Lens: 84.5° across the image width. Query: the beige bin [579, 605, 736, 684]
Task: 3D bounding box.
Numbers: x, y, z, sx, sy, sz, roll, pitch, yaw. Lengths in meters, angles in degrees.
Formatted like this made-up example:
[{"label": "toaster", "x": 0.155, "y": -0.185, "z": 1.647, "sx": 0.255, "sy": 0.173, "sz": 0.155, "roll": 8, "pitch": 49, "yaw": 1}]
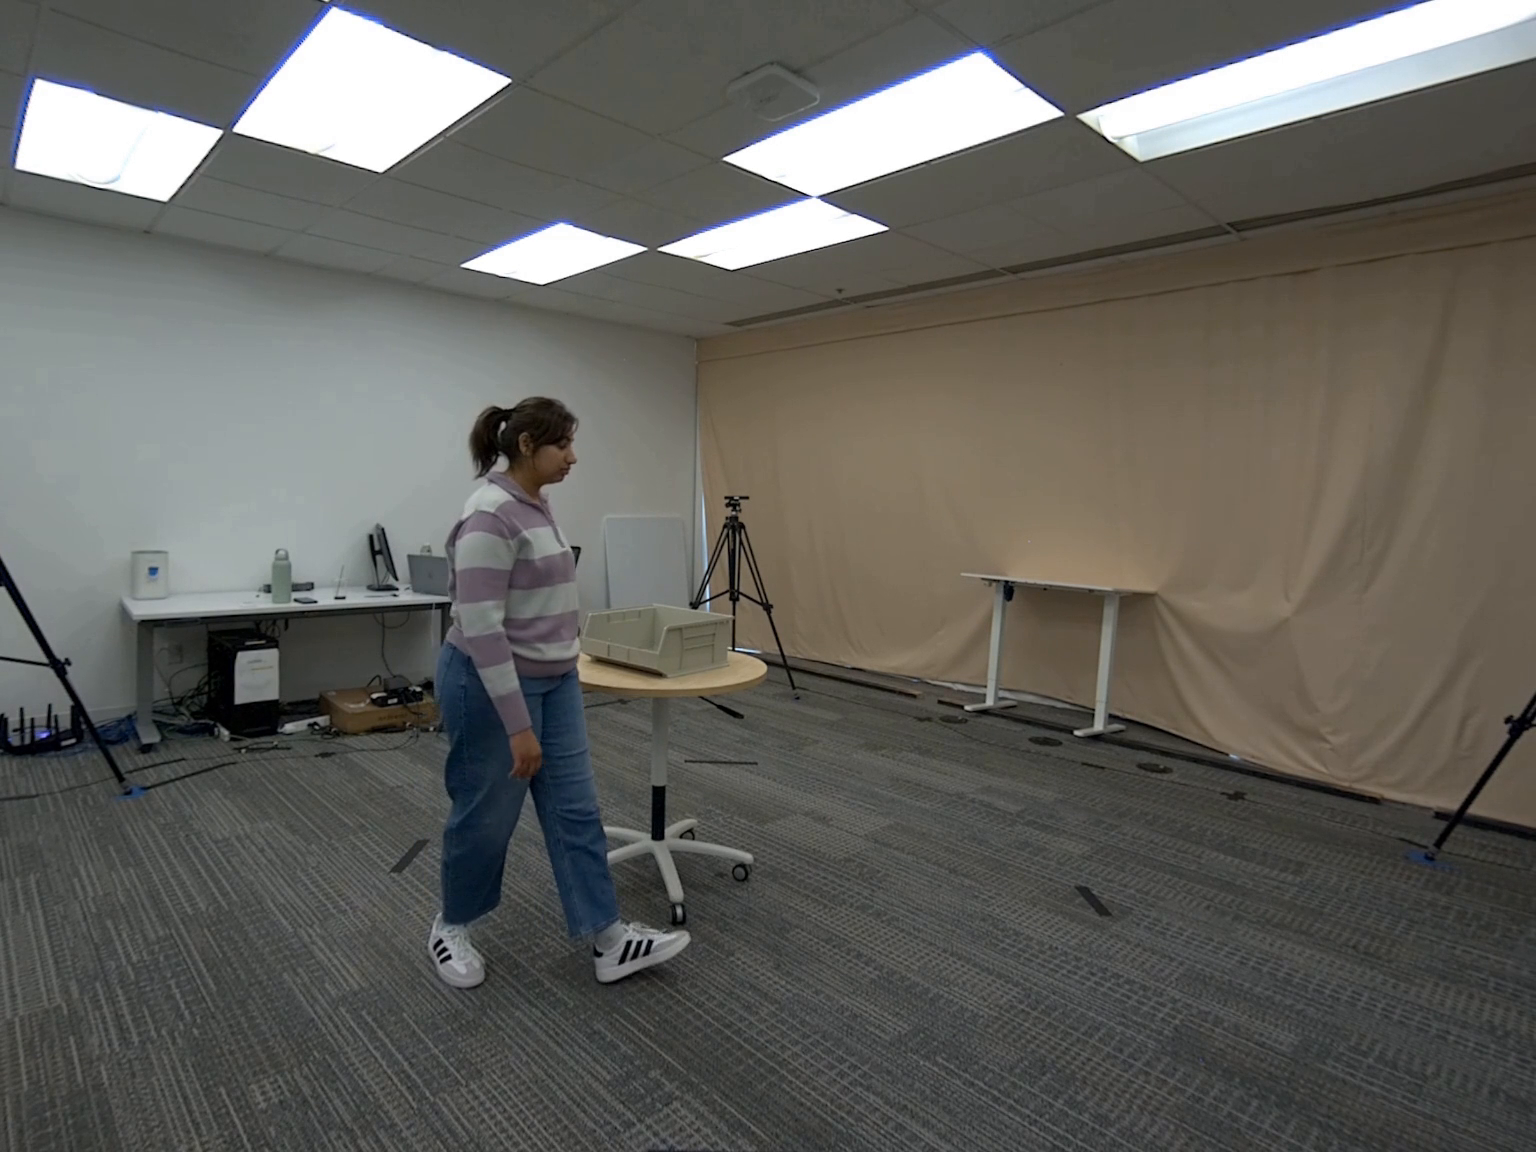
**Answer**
[{"label": "beige bin", "x": -0.407, "y": 0.232, "z": 3.048, "sx": 0.433, "sy": 0.188, "sz": 0.369, "roll": 5, "pitch": 5, "yaw": 39}]
